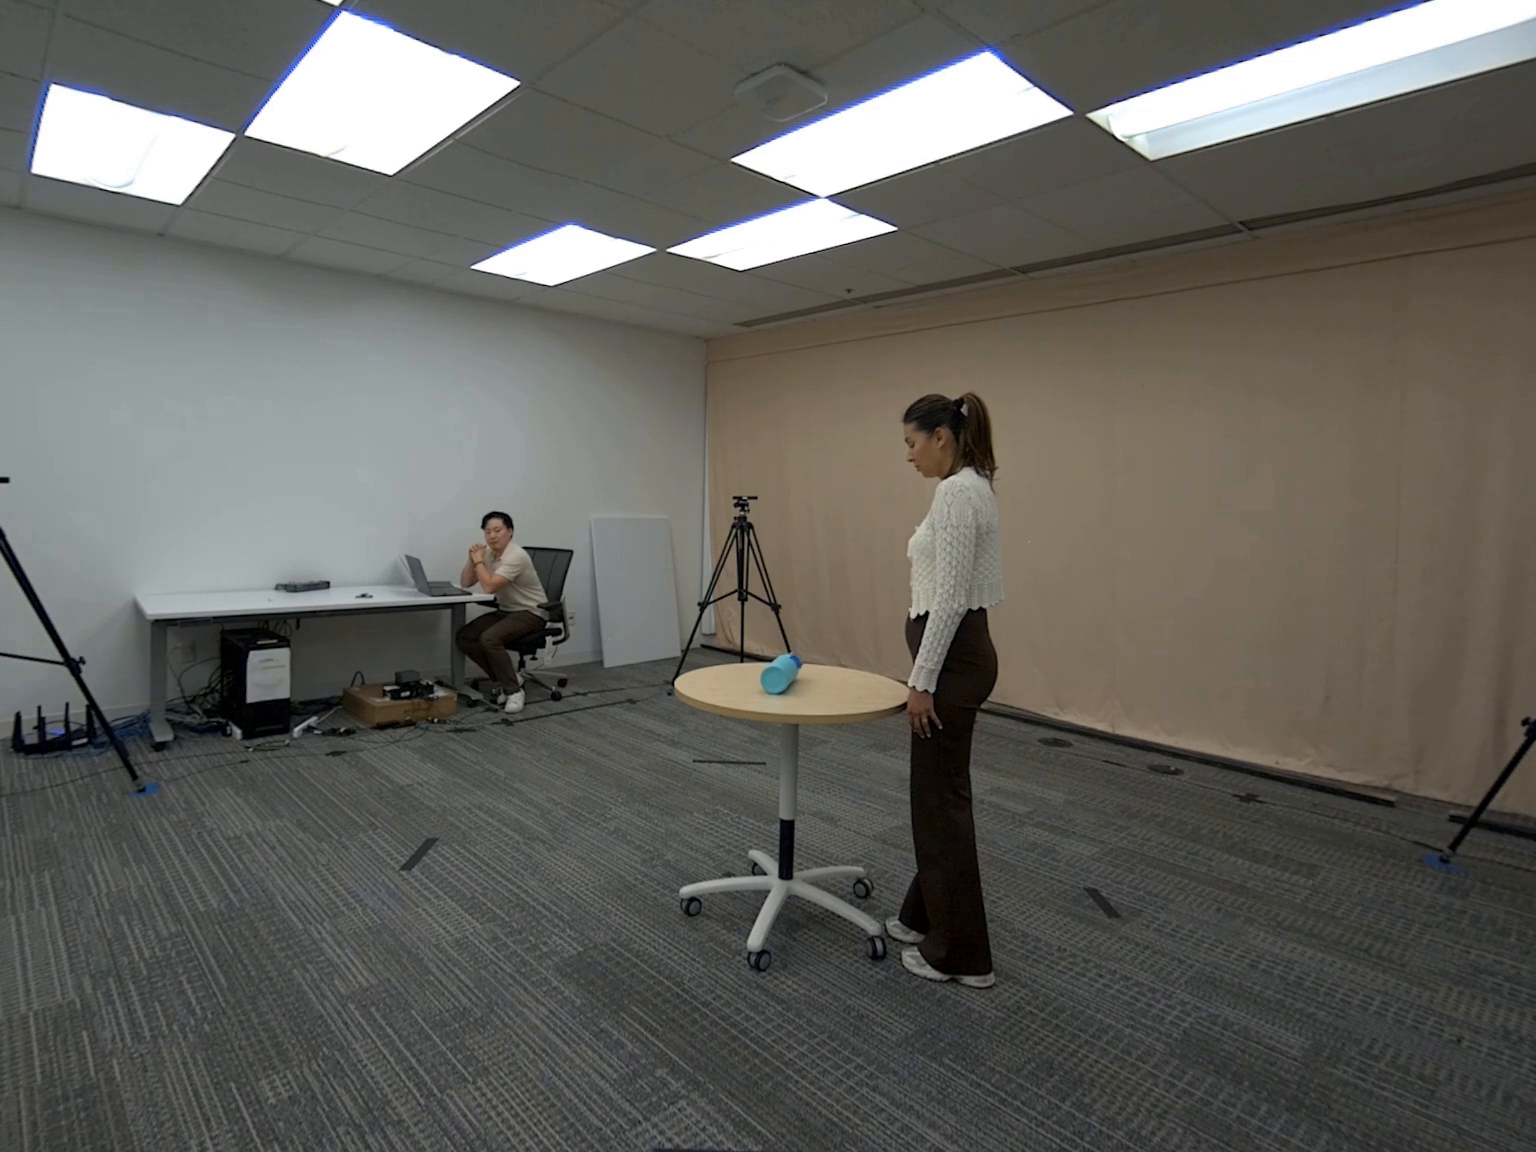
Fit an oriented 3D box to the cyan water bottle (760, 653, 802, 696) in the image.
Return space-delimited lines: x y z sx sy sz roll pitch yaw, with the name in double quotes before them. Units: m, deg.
"cyan water bottle" 0.045 0.313 2.735 0.093 0.092 0.281 2 5 11
